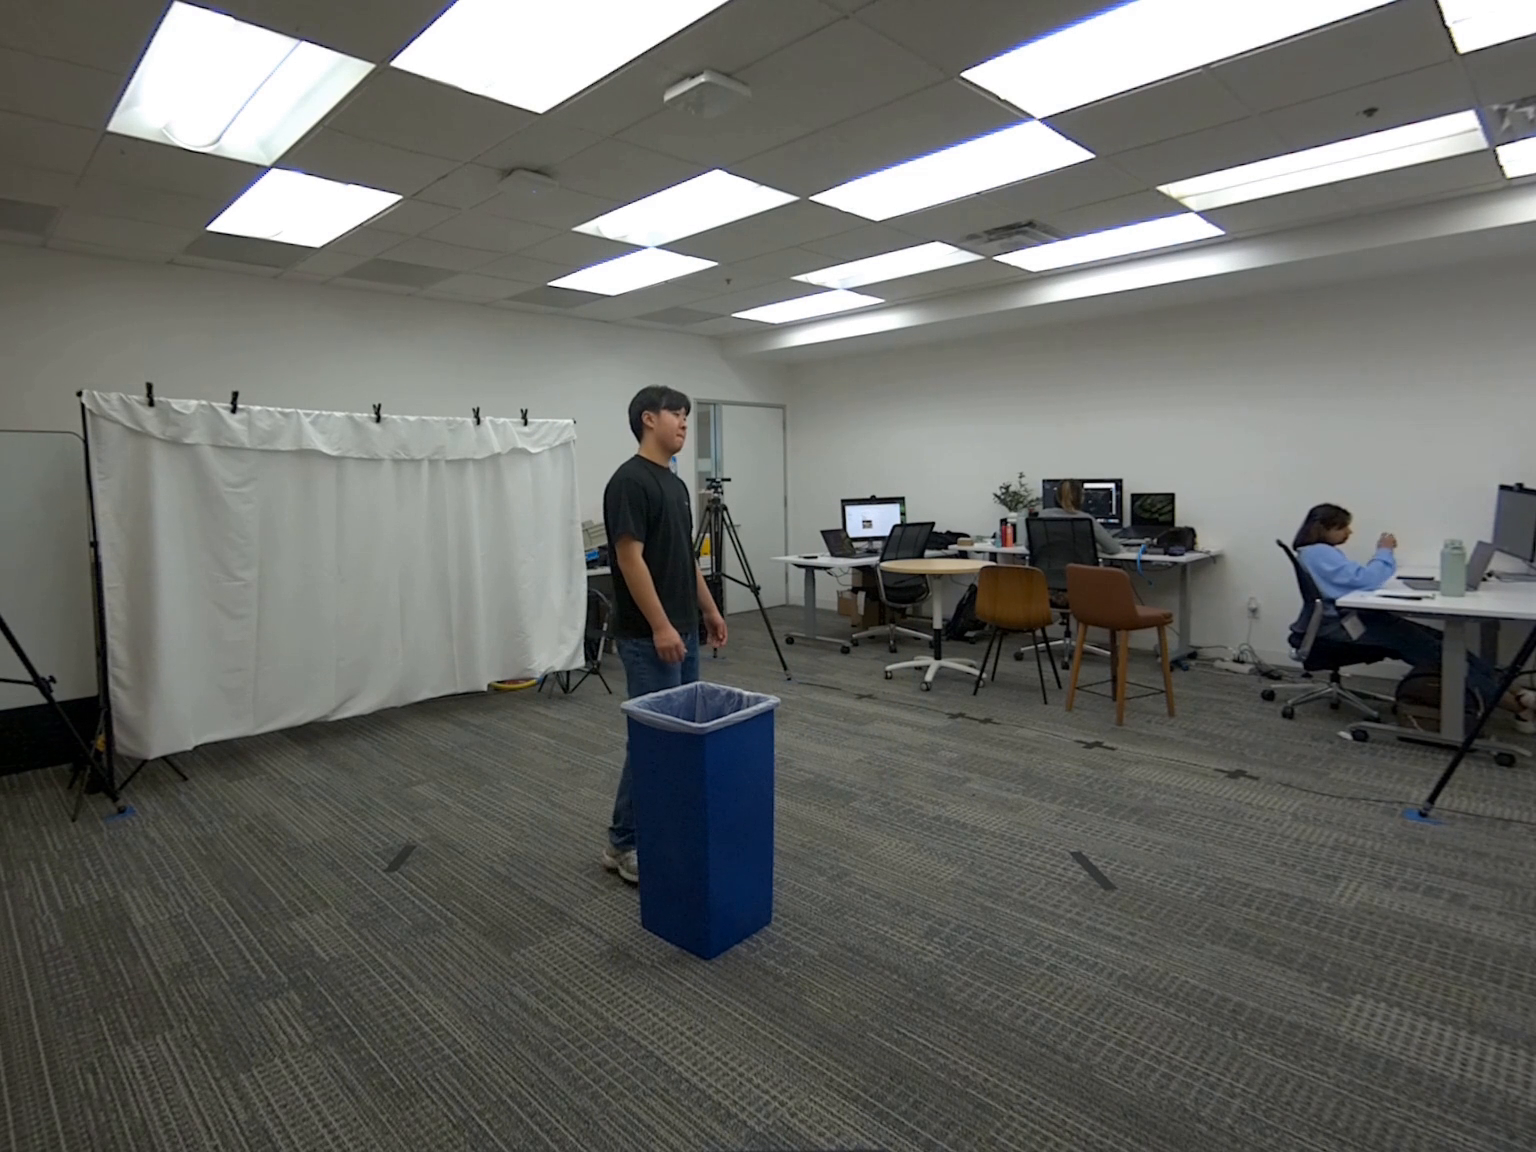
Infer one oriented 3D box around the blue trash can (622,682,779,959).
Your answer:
[{"bbox_3d":[-0.193,0.740,2.651,0.389,0.711,0.364,3,6,41],"label":"blue trash can"}]
